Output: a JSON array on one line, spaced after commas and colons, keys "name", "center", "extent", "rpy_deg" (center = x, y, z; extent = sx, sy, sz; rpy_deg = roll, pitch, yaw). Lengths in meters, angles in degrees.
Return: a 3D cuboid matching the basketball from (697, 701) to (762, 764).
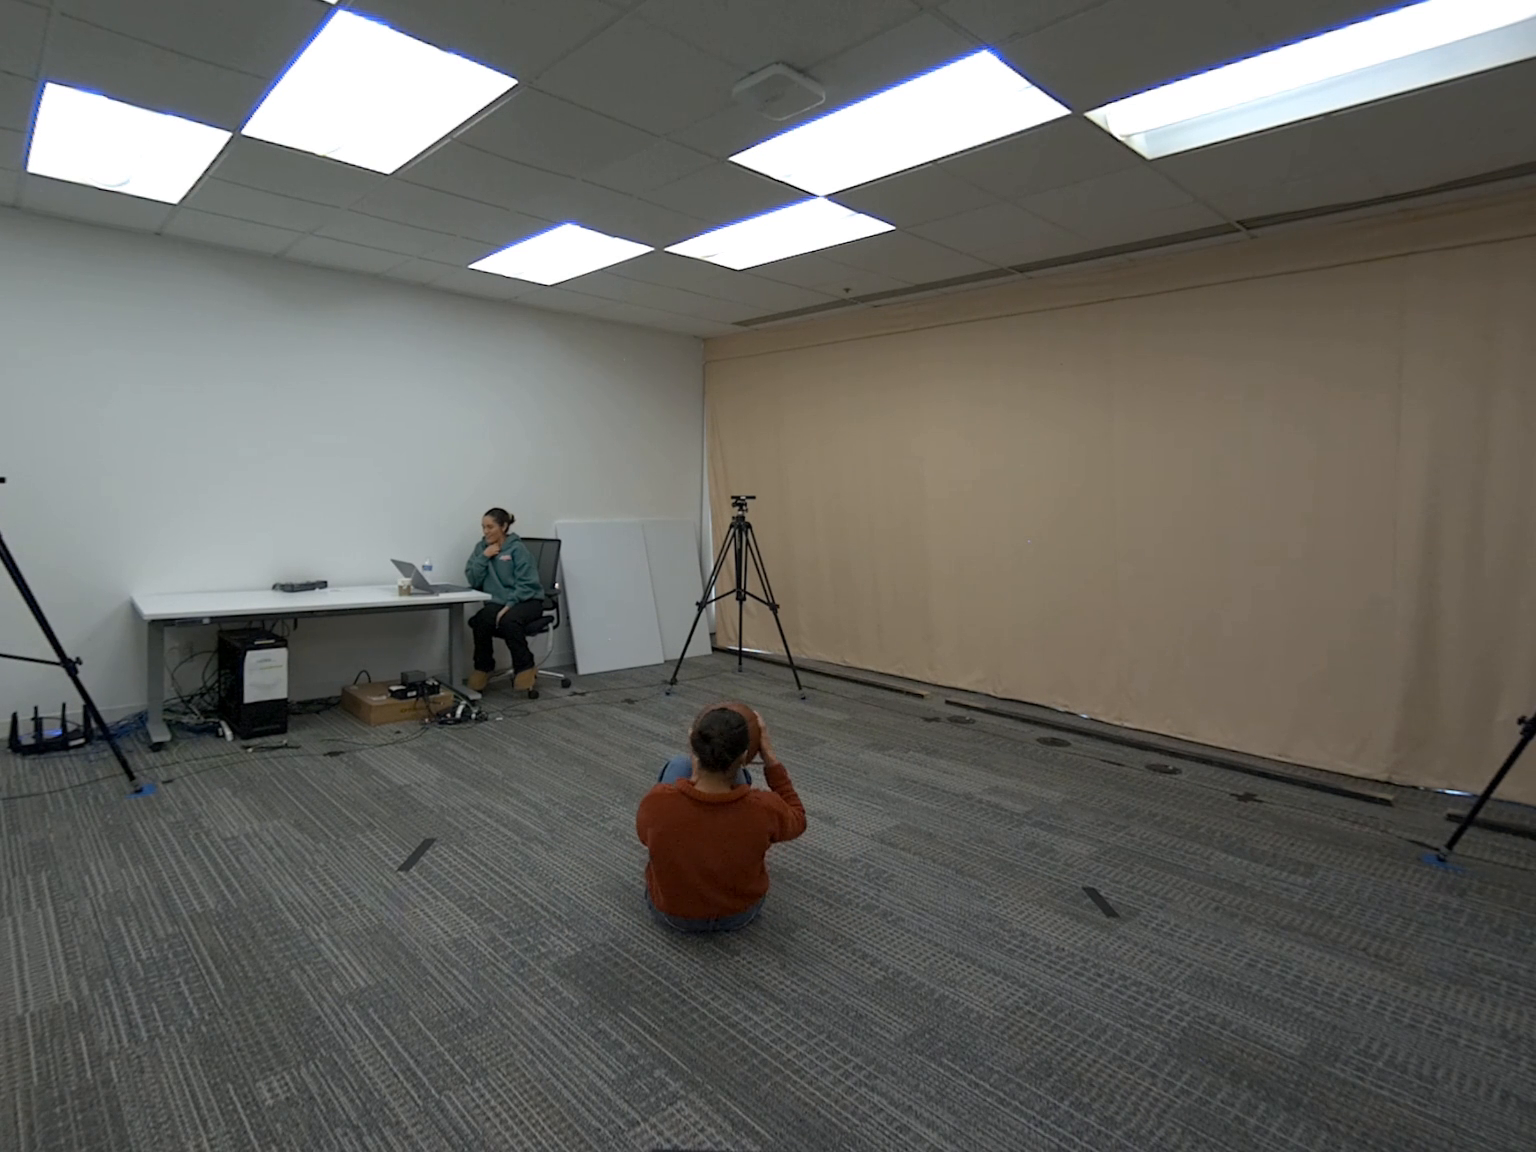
[{"name": "basketball", "center": [-0.142, 0.561, 2.787], "extent": [0.236, 0.235, 0.237], "rpy_deg": [1, 4, -1]}]
